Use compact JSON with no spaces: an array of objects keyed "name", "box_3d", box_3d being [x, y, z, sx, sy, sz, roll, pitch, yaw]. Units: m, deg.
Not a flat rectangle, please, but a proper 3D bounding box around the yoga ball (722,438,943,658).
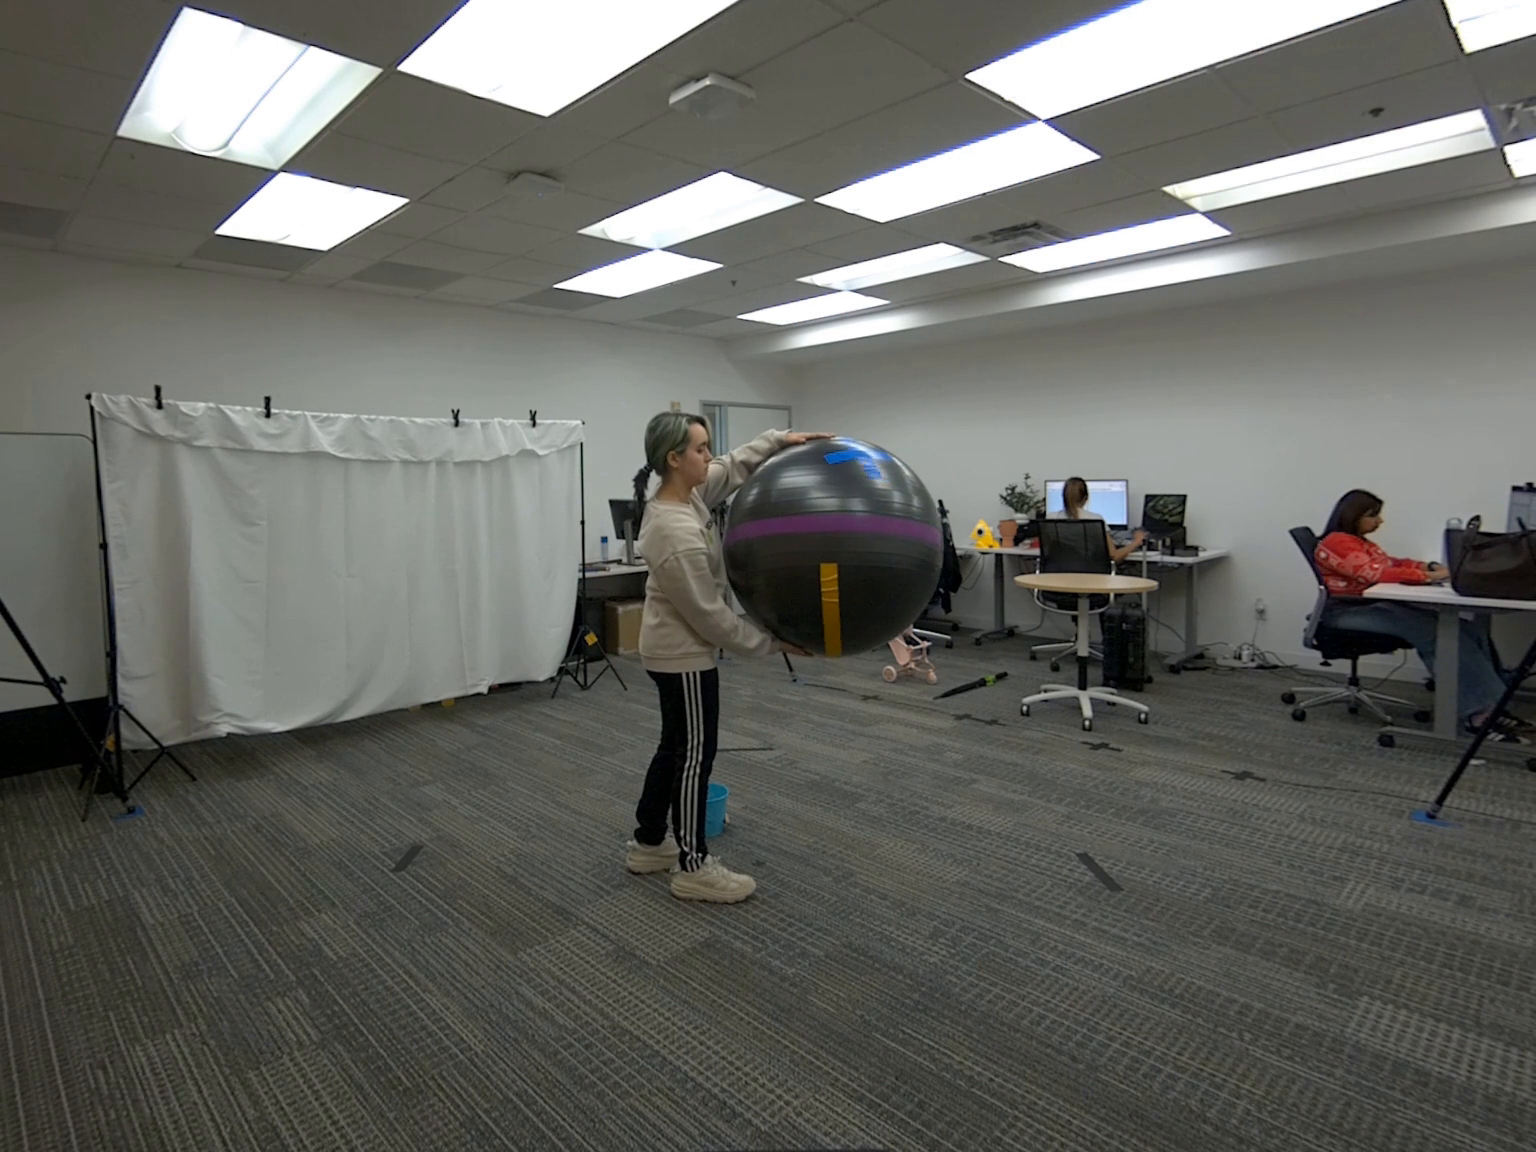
[{"name":"yoga ball","box_3d":[0.234,-0.103,2.967,0.757,0.755,0.762,-1,5,-2]}]
